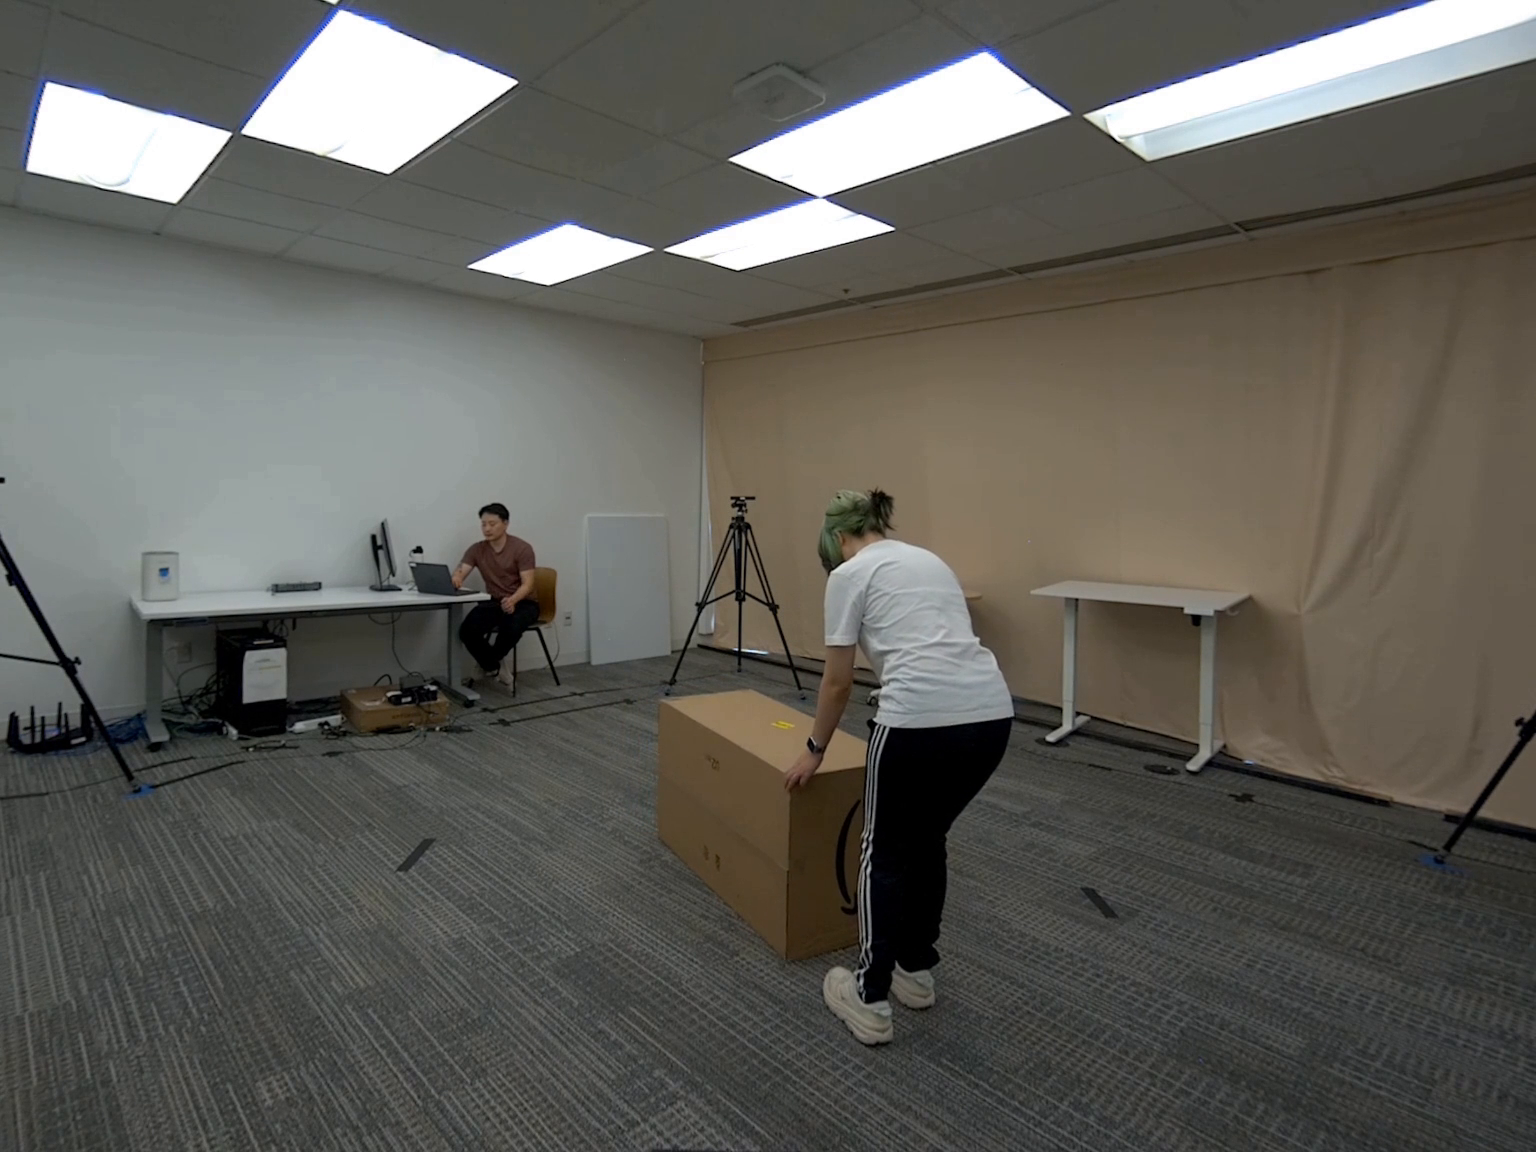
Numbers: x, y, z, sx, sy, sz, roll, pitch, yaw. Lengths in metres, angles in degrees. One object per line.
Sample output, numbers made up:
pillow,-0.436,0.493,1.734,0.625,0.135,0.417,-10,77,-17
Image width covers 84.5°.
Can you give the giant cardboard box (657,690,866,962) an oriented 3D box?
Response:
giant cardboard box,-0.012,0.826,3.054,0.438,0.582,1.050,0,5,-29
